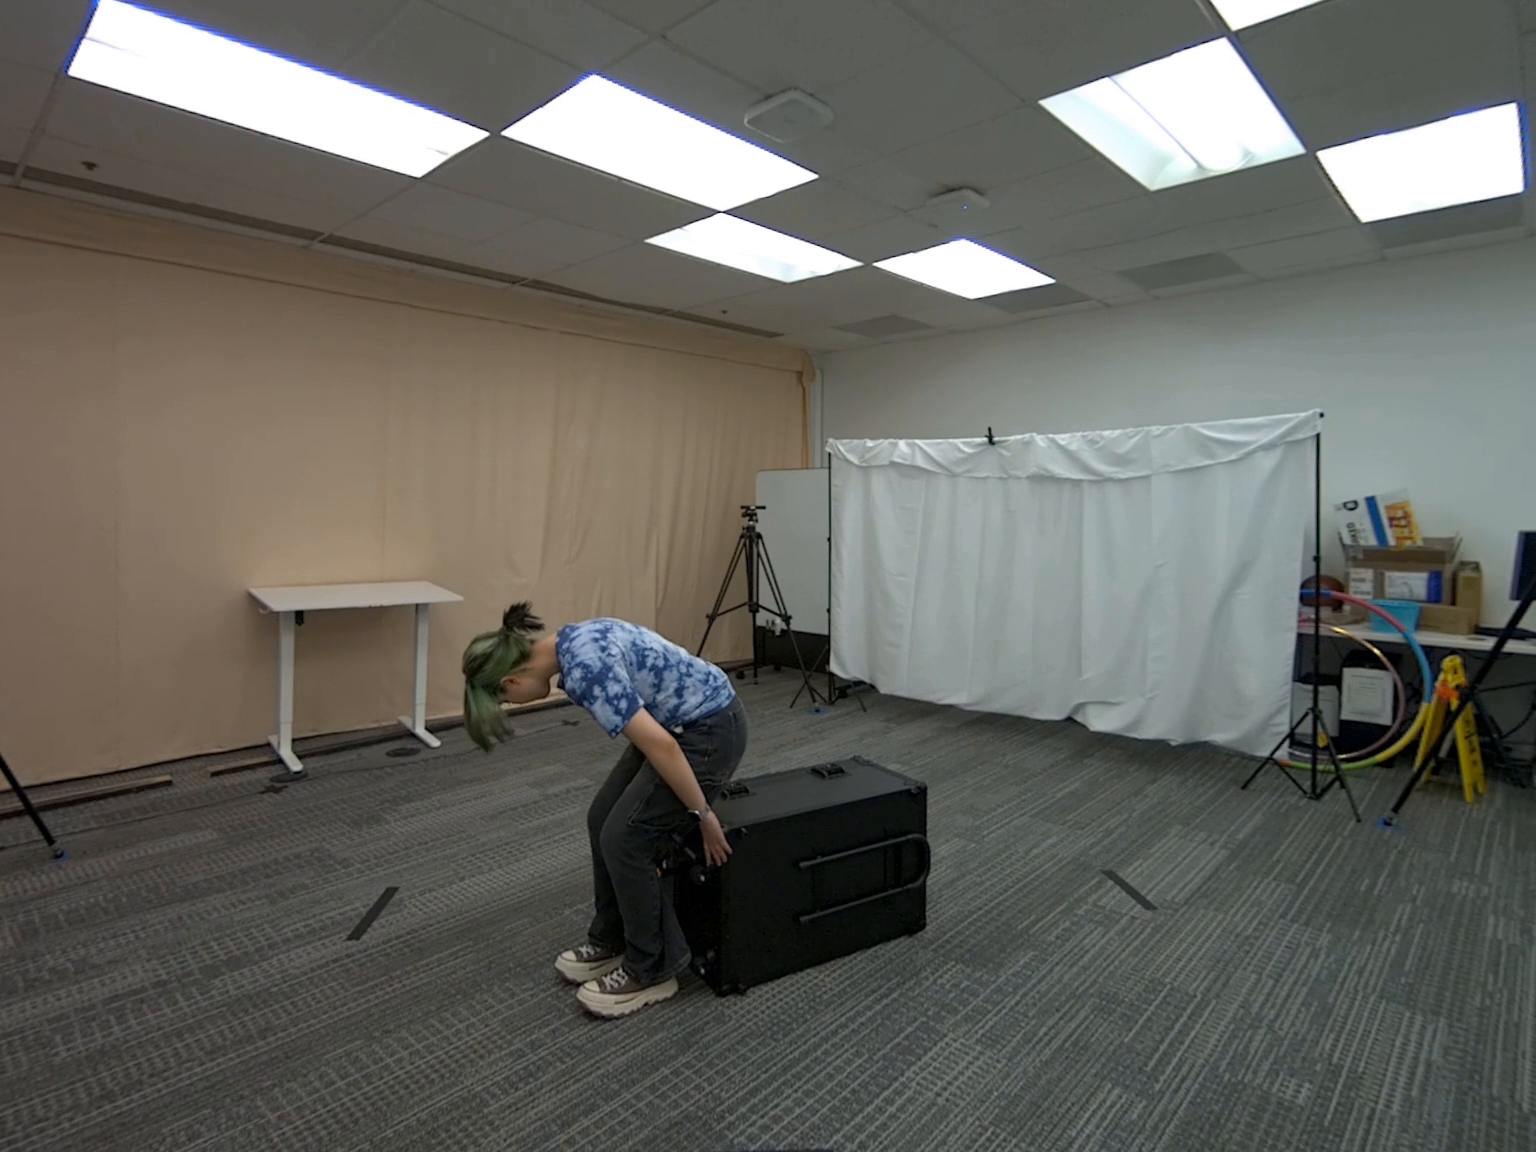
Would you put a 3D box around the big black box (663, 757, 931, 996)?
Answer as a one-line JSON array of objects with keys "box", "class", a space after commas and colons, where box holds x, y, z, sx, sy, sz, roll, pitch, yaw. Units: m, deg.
[{"box": [0.086, 0.926, 2.689, 0.839, 0.520, 0.408, -3, 4, -30], "class": "big black box"}]
